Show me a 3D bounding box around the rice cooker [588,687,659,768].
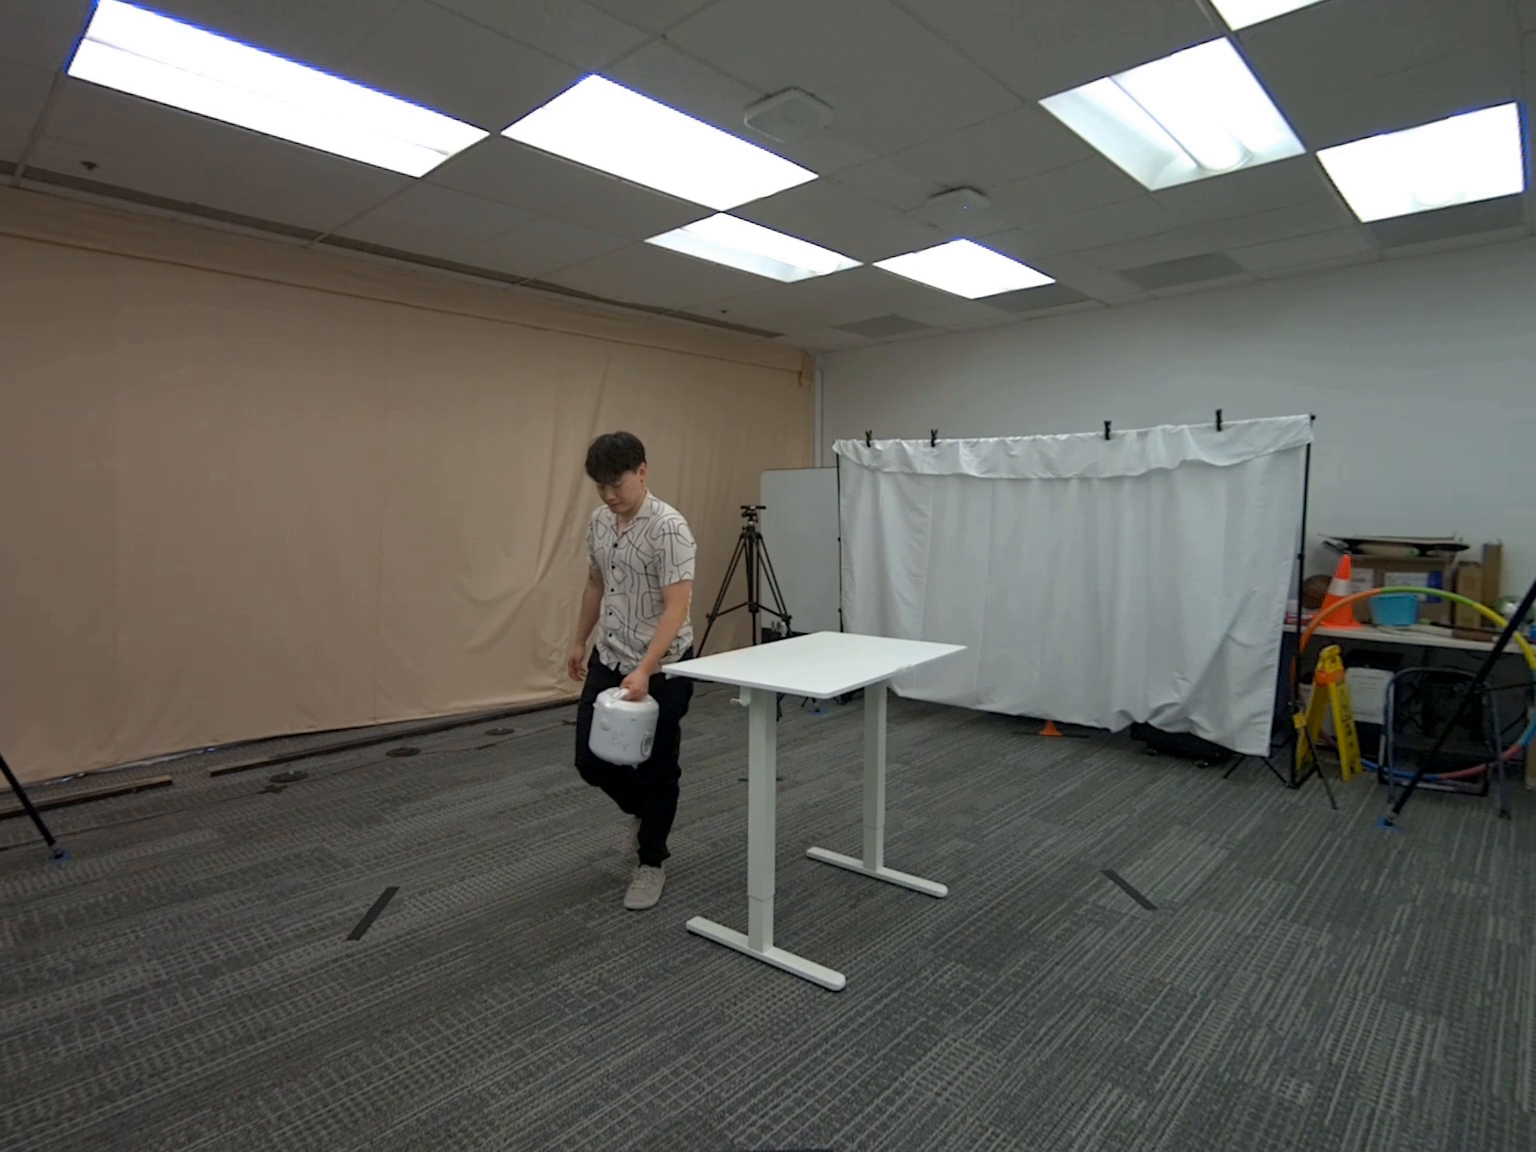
[{"bbox_3d":[-0.466,0.477,2.776,0.224,0.232,0.214,10,6,31],"label":"rice cooker"}]
